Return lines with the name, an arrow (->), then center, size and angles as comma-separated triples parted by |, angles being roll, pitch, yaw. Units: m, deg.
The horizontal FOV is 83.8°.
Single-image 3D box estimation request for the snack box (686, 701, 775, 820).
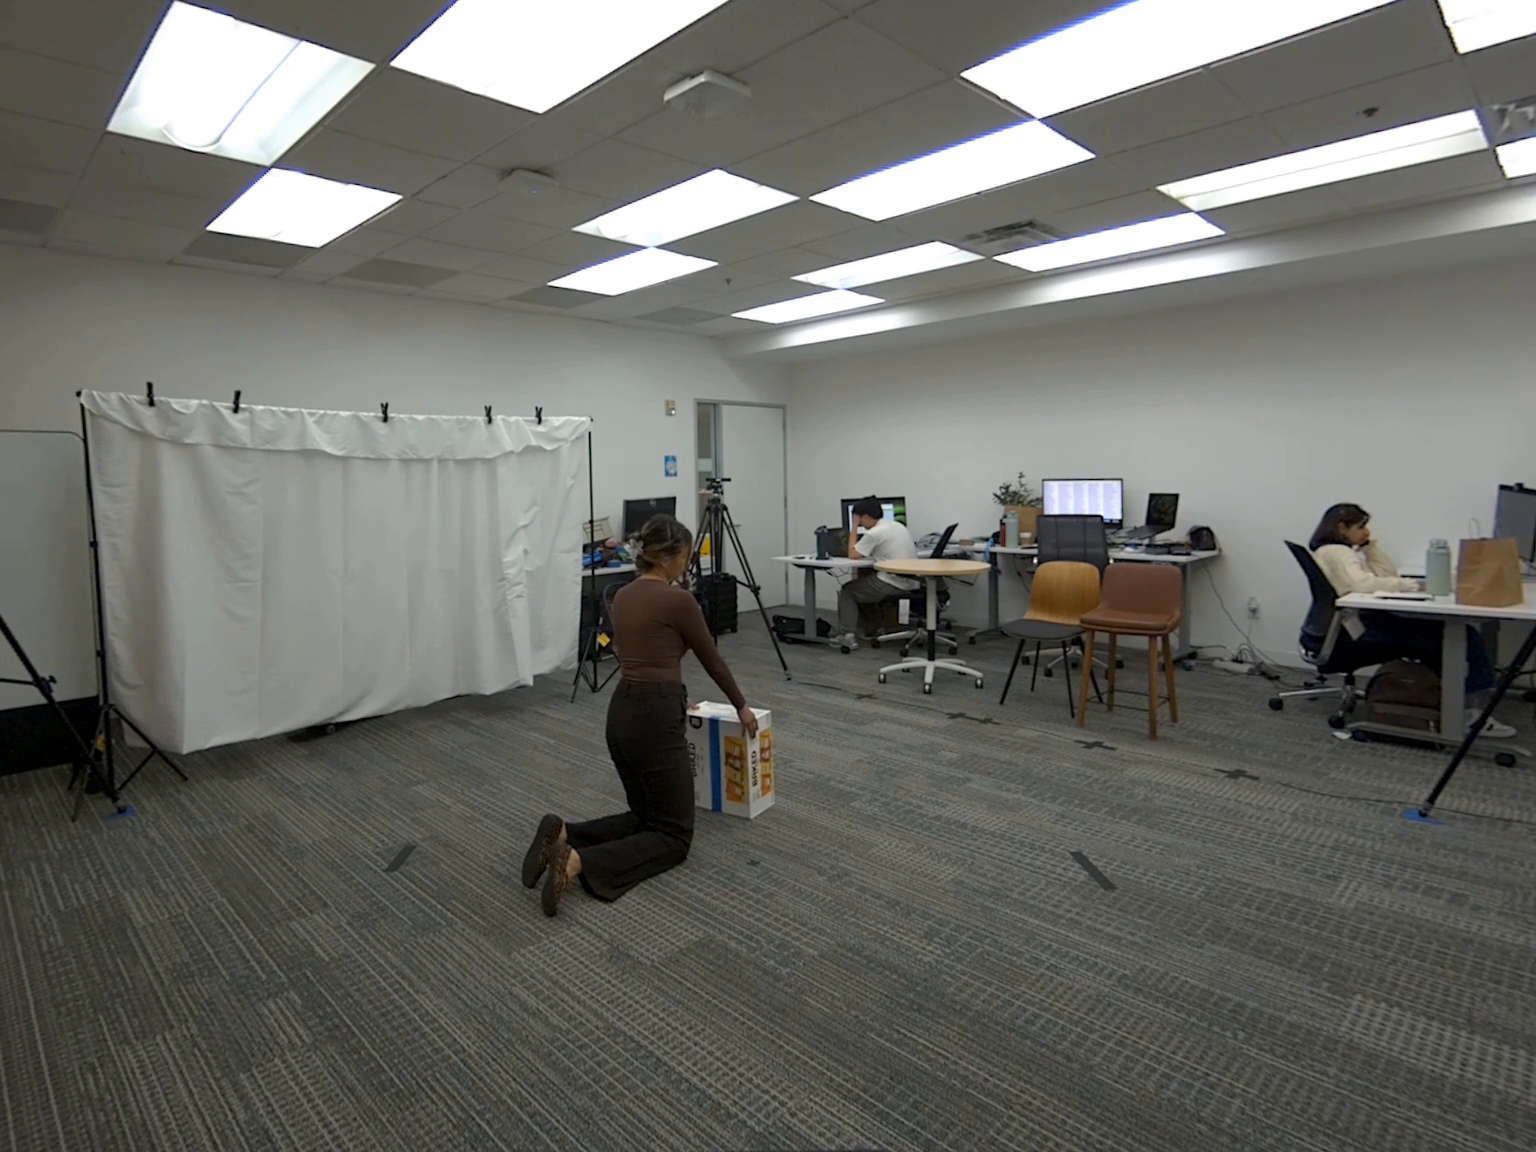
snack box -> -0.174, 0.776, 3.659 | 0.349, 0.403, 0.201 | 2, 6, 32
